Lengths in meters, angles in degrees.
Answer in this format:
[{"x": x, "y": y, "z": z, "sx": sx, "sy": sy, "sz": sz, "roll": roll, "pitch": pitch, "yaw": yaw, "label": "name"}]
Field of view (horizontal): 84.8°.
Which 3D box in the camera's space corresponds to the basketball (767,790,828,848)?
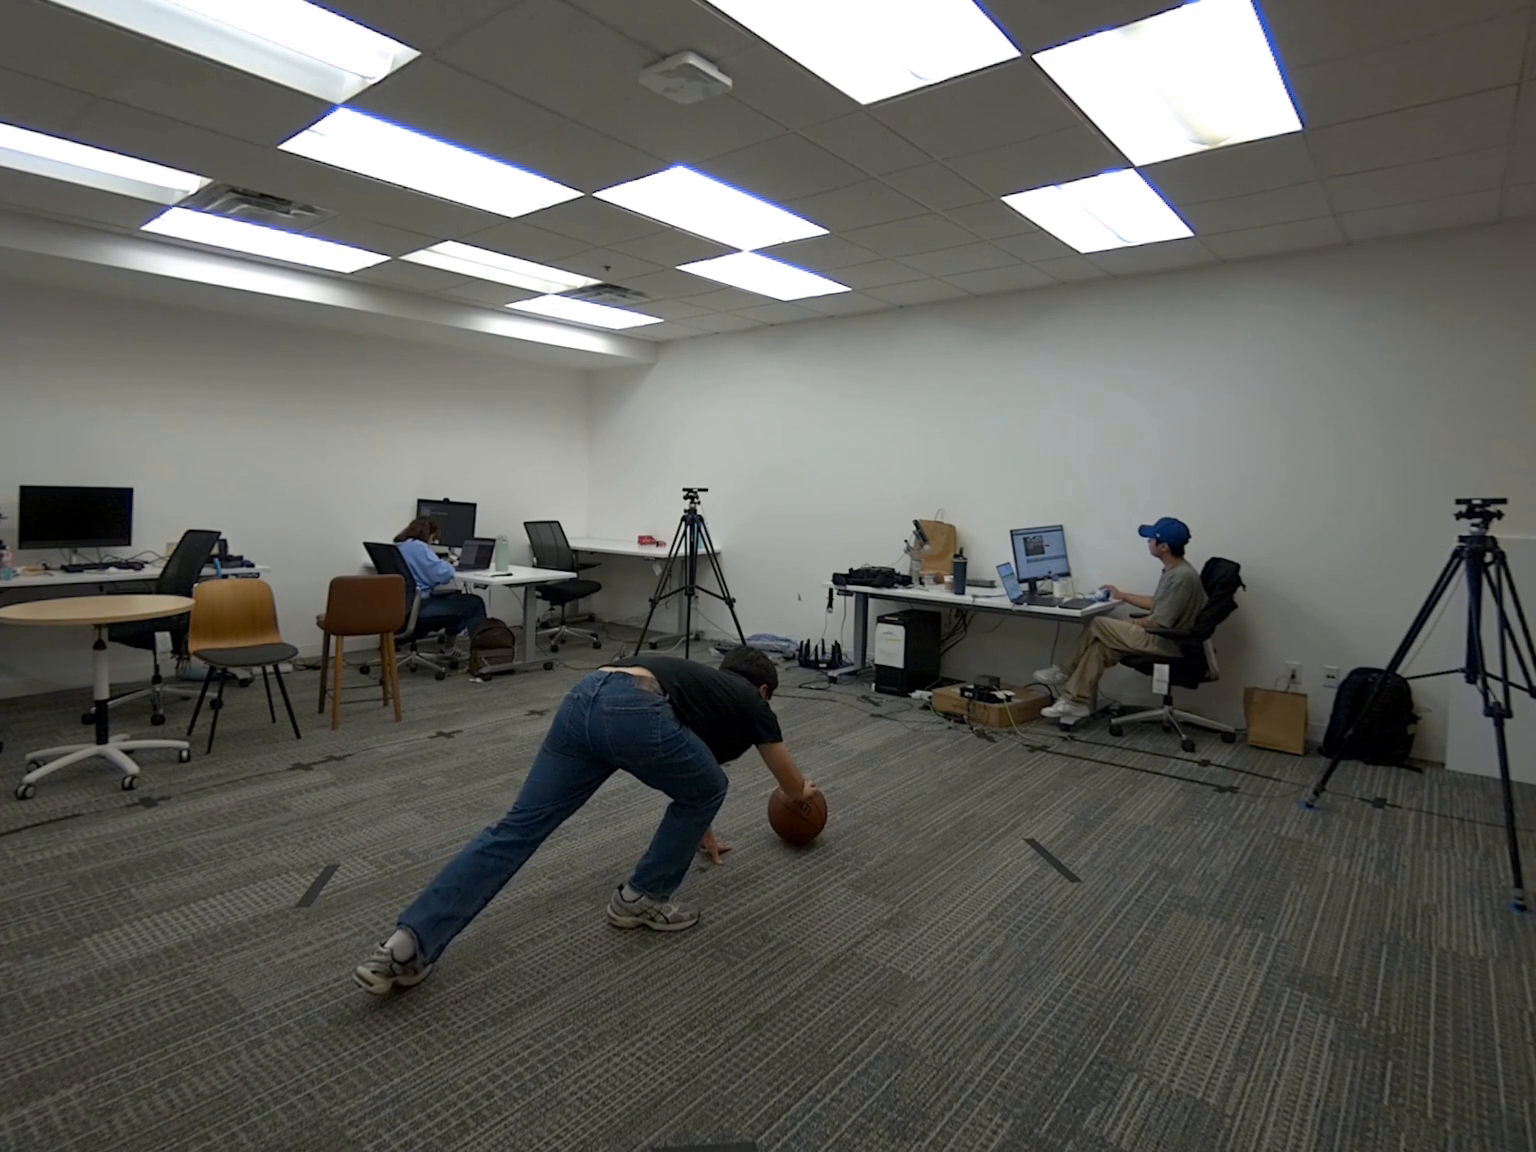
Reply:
[{"x": 0.113, "y": 0.925, "z": 3.377, "sx": 0.235, "sy": 0.235, "sz": 0.237, "roll": 1, "pitch": 4, "yaw": -2, "label": "basketball"}]
